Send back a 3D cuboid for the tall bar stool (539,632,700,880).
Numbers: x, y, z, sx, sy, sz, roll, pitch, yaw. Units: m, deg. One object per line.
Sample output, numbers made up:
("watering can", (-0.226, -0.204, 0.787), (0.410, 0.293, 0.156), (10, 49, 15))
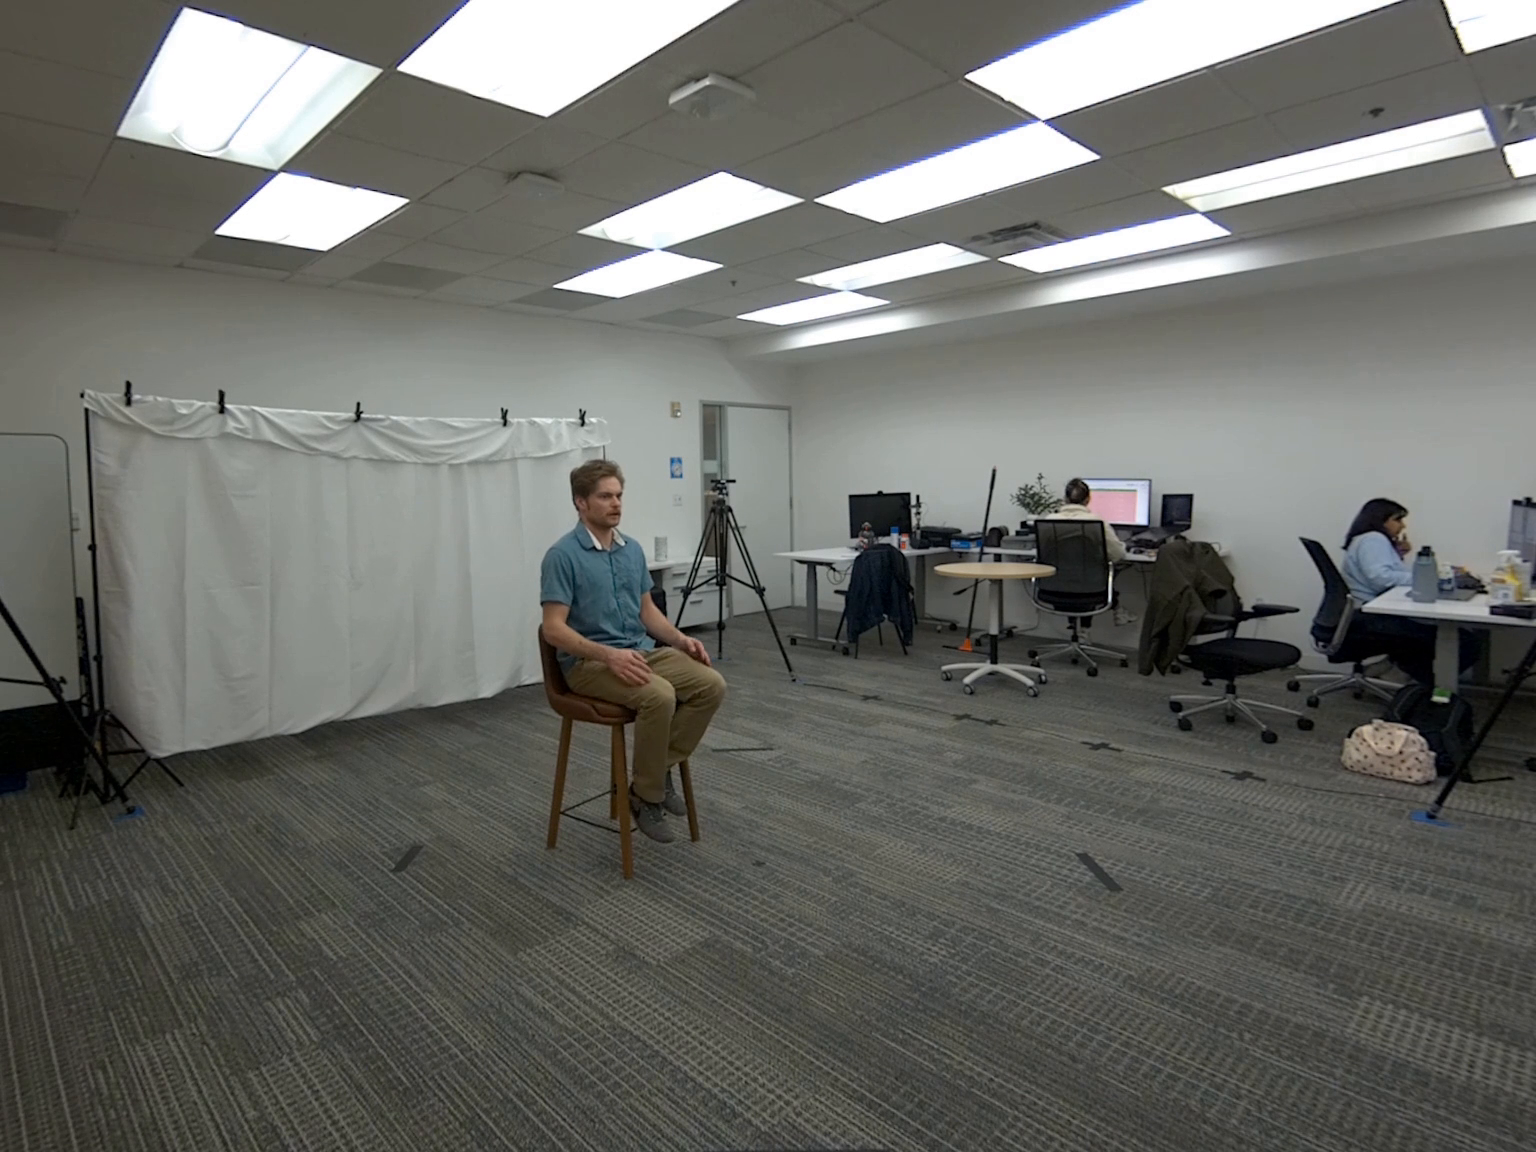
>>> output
("tall bar stool", (-0.580, 0.601, 3.286), (0.480, 0.889, 0.445), (-2, 2, 36))
